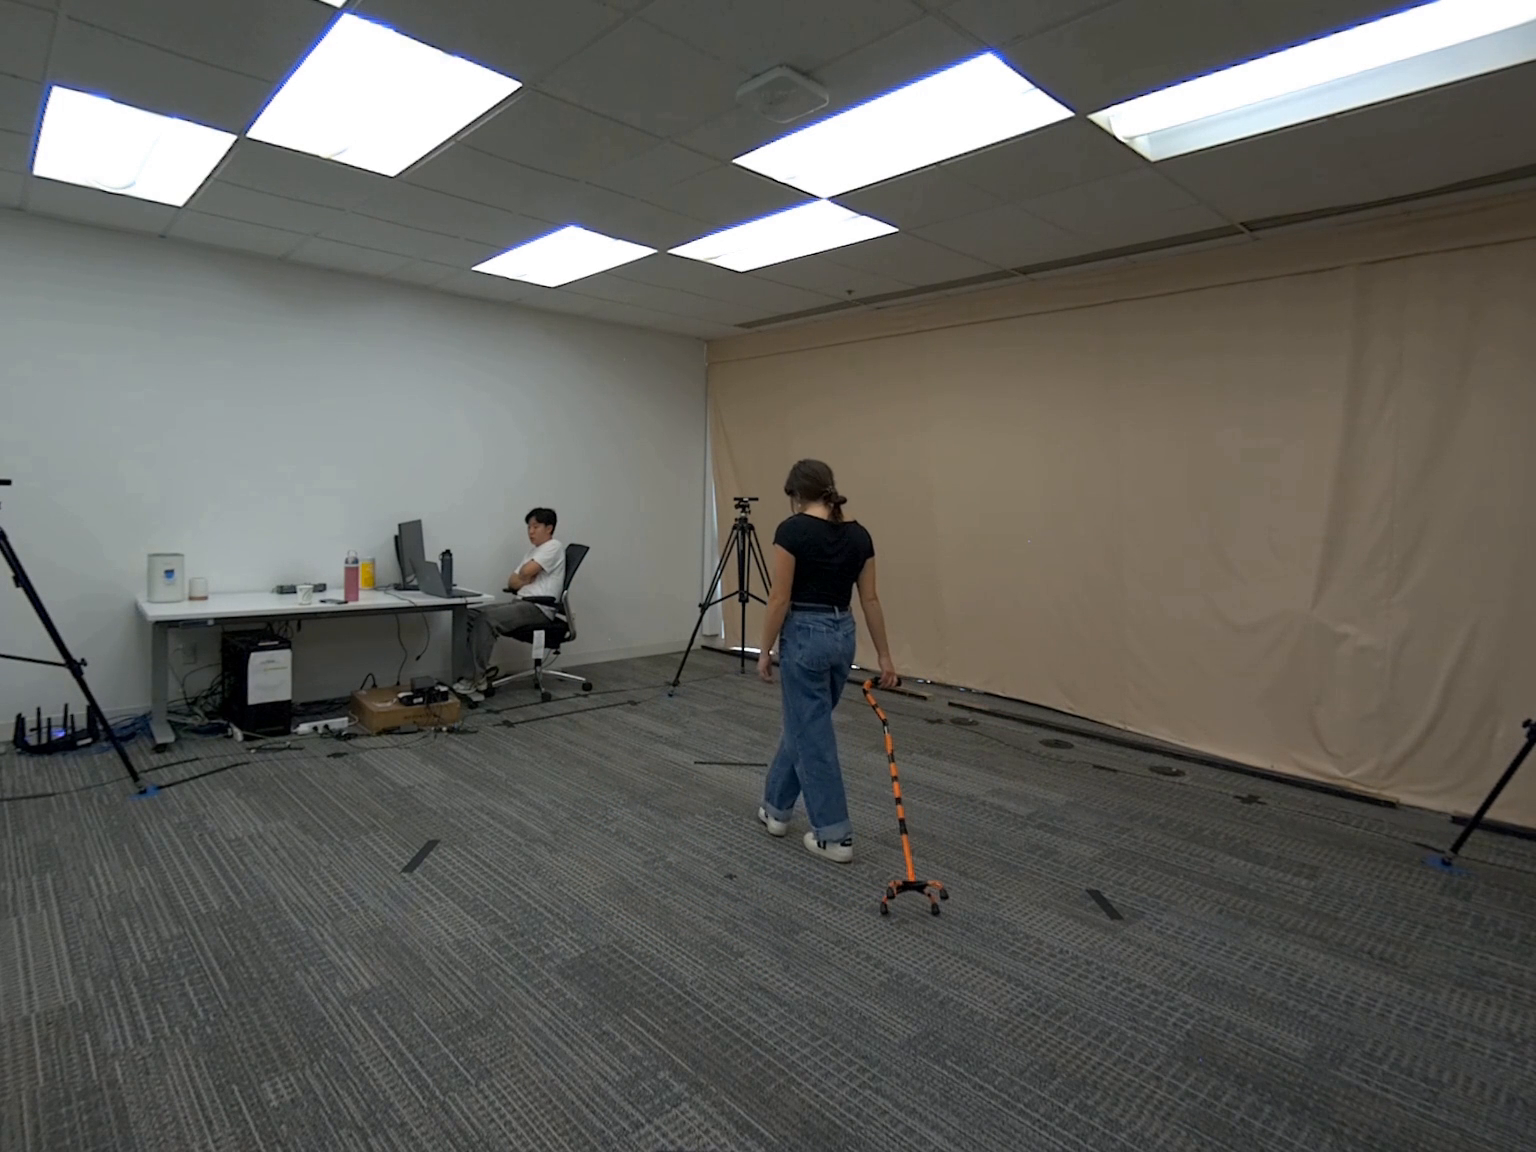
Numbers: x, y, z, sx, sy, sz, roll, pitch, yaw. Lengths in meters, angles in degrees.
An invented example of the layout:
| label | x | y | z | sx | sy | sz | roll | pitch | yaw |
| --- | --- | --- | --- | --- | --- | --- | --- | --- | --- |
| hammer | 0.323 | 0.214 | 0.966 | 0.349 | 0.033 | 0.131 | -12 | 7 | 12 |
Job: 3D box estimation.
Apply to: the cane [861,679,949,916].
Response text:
| label | x | y | z | sx | sy | sz | roll | pitch | yaw |
| --- | --- | --- | --- | --- | --- | --- | --- | --- | --- |
| cane | 0.463 | 0.765 | 3.103 | 0.206 | 0.148 | 0.929 | 1 | 47 | -4 |
